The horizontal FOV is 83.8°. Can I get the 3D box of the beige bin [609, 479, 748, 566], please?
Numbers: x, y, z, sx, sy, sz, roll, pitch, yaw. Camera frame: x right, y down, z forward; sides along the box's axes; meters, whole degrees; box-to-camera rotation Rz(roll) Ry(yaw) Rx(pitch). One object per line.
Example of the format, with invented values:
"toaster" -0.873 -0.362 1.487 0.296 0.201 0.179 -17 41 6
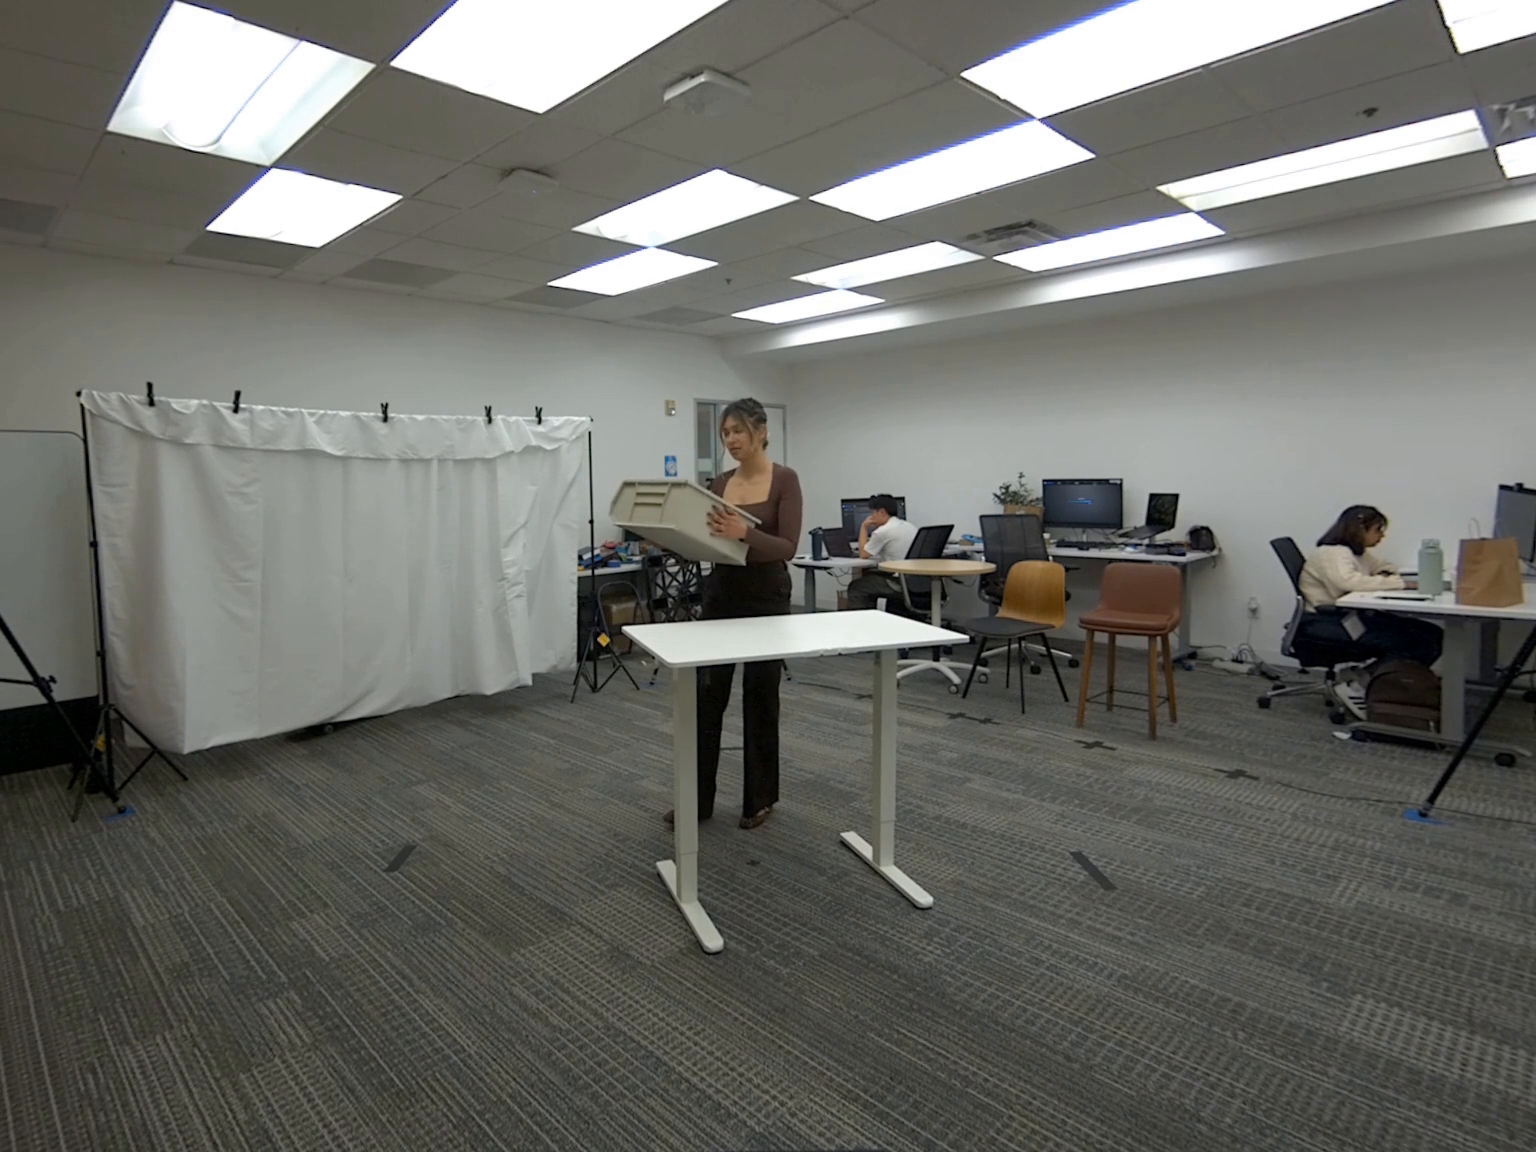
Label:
"beige bin" -0.318 -0.200 3.194 0.389 0.190 0.406 6 -15 43
